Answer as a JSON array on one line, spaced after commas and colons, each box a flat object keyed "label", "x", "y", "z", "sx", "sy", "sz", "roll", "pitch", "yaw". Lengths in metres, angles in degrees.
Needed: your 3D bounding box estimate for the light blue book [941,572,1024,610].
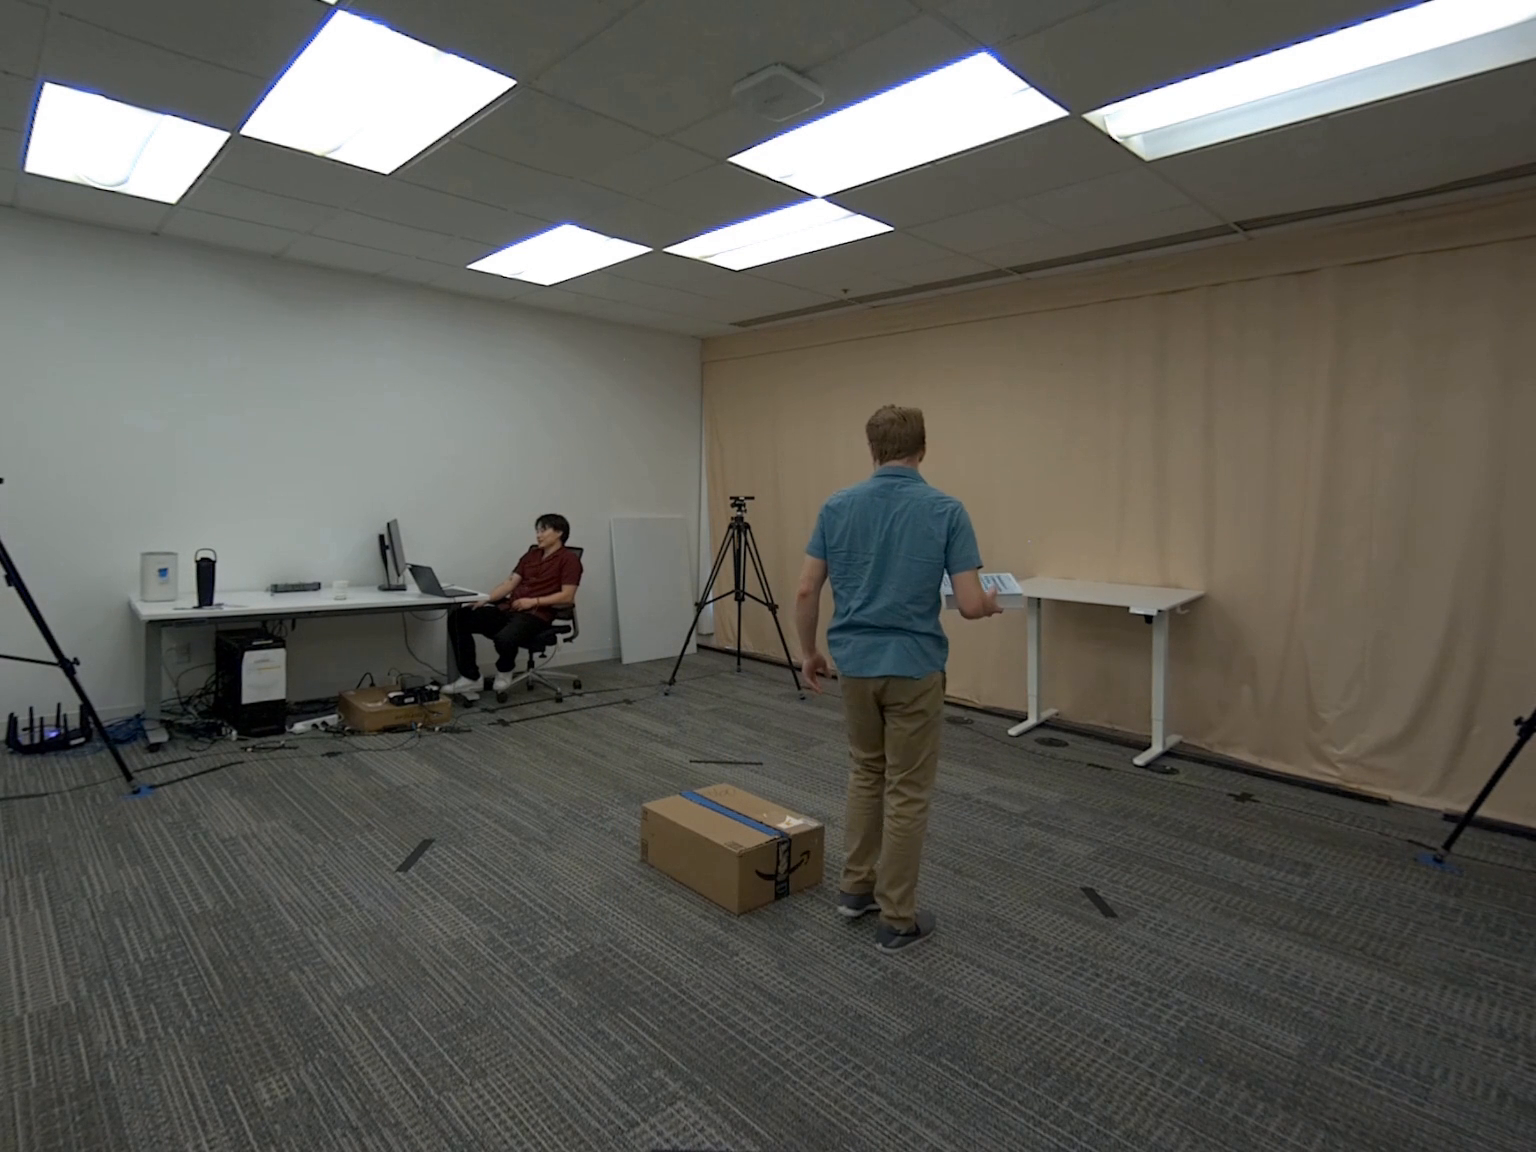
[{"label": "light blue book", "x": 0.708, "y": 0.052, "z": 2.902, "sx": 0.261, "sy": 0.058, "sz": 0.194, "roll": -2, "pitch": 22, "yaw": 1}]
